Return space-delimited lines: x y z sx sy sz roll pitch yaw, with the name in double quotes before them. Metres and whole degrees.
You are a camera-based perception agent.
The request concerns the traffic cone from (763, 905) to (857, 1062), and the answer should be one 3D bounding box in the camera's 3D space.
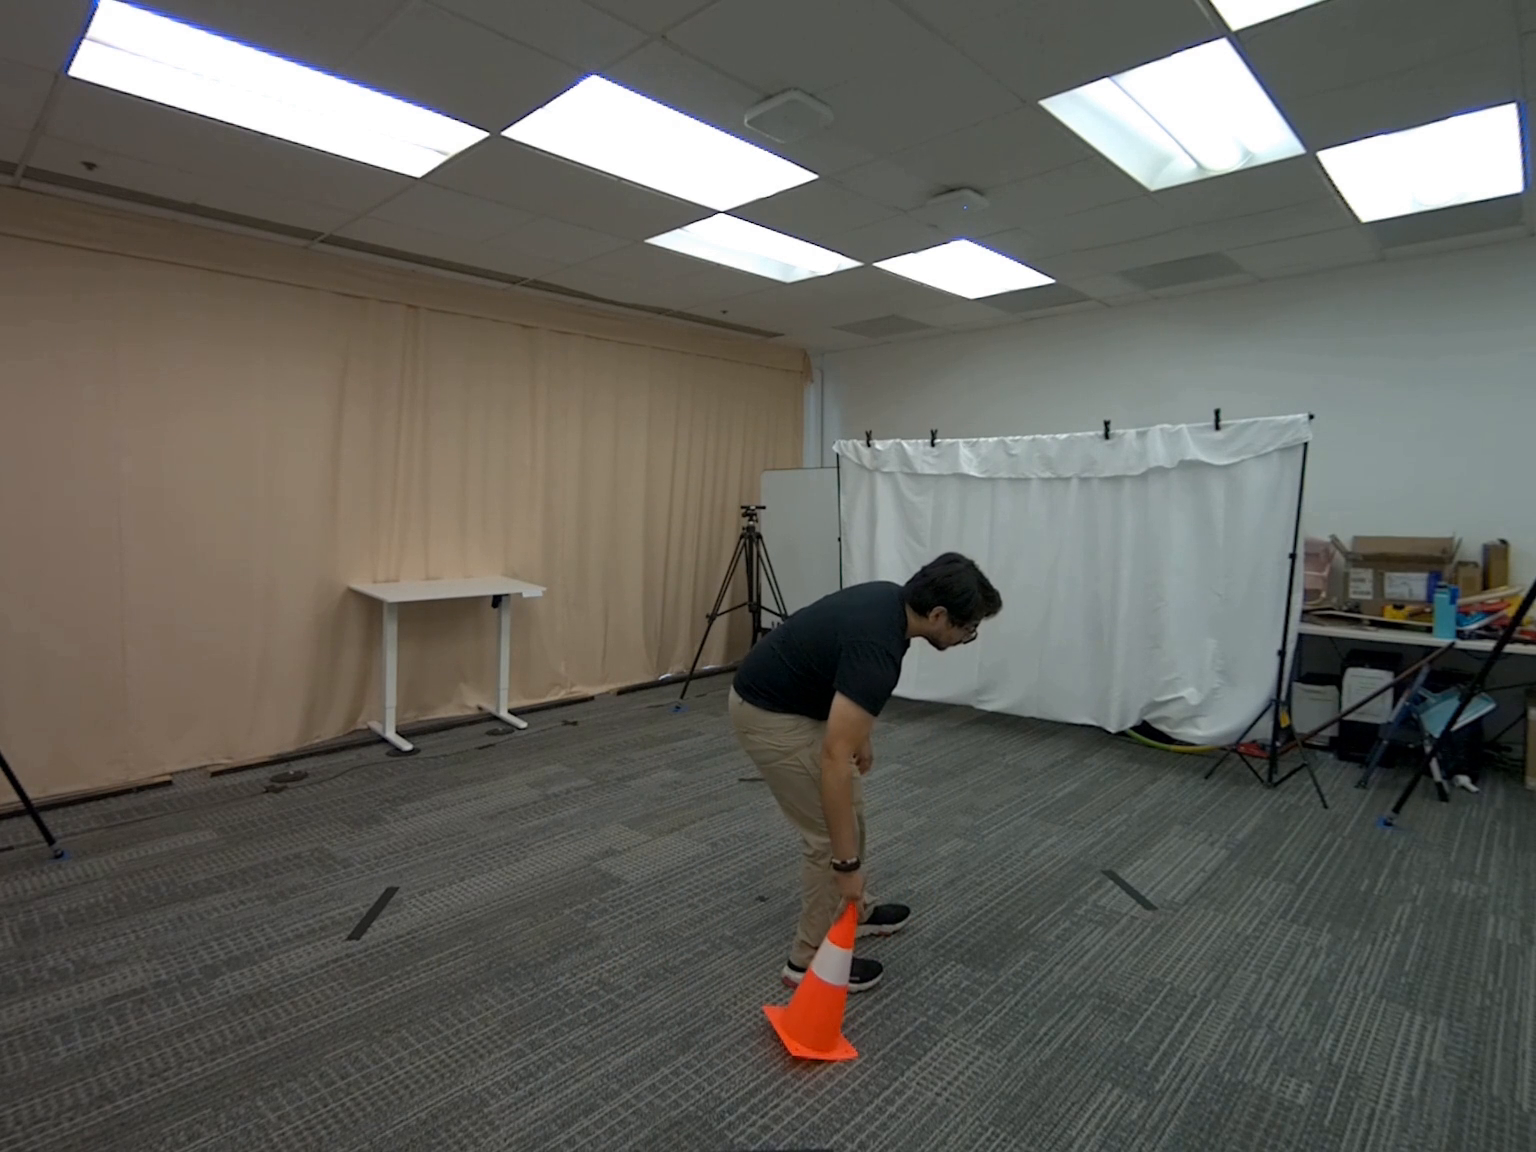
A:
"traffic cone" 0.167 1.015 2.175 0.199 0.383 0.209 16 3 -26
